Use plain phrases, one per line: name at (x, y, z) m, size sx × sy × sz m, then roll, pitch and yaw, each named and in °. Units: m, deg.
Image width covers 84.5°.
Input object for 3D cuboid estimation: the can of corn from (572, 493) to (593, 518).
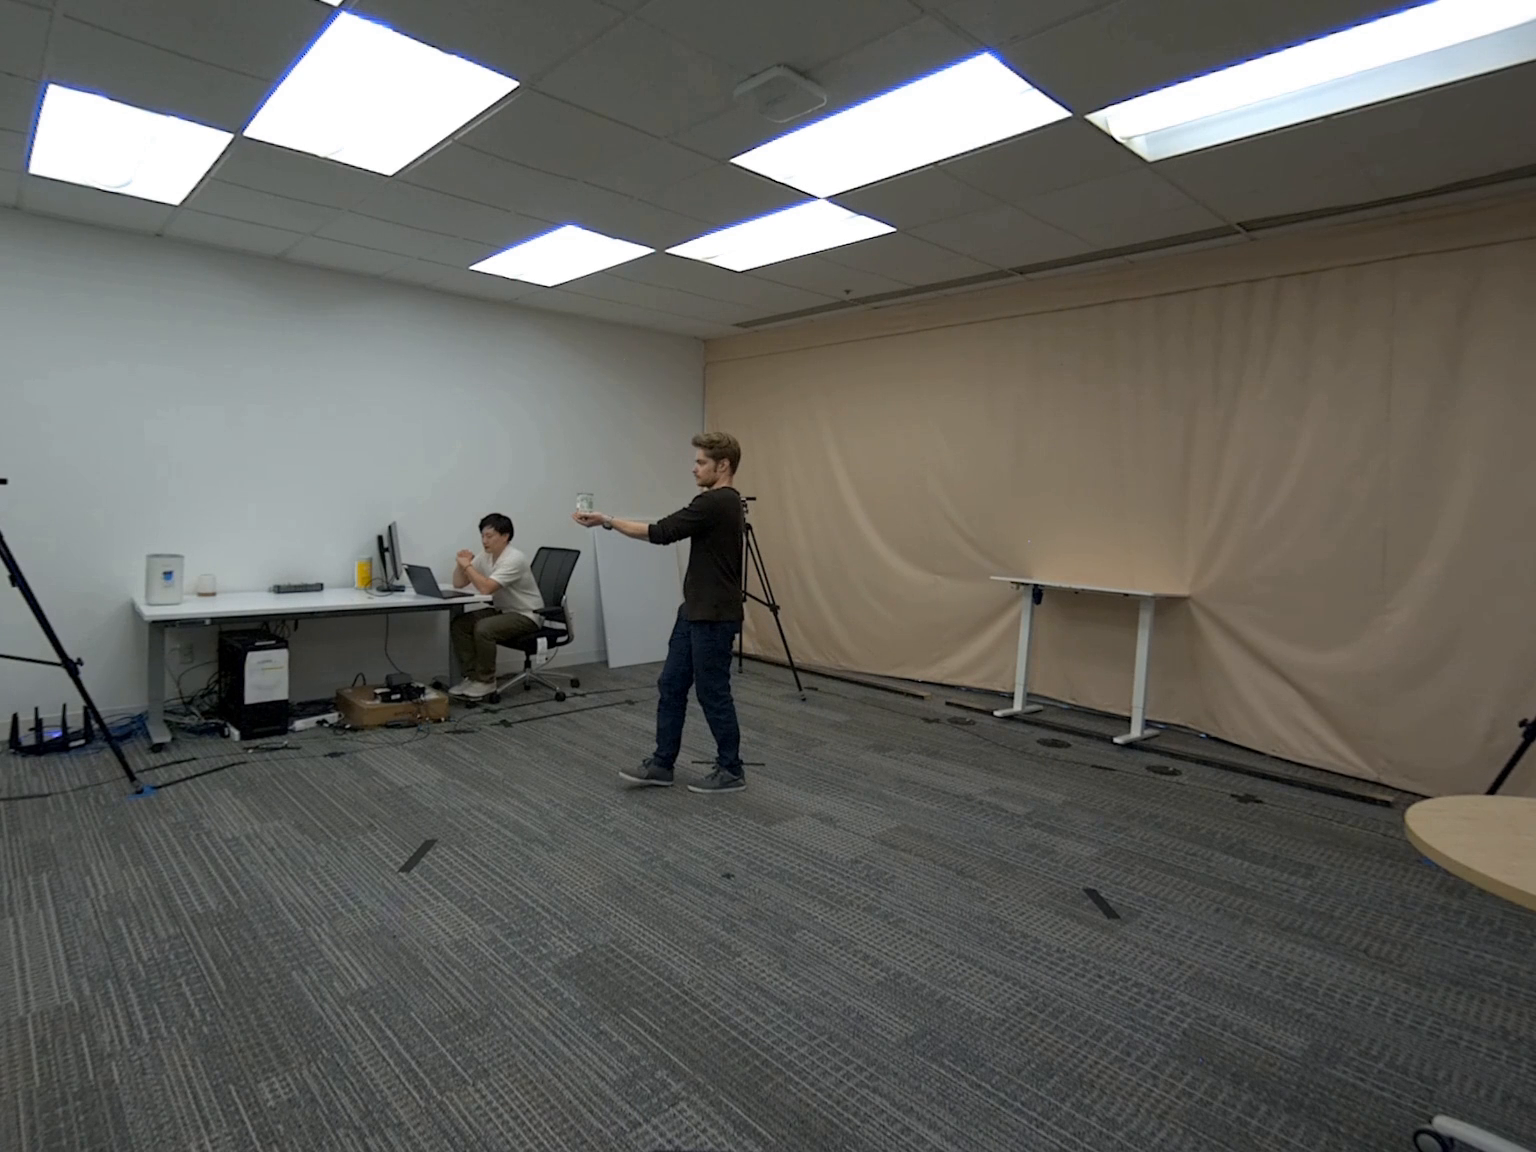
can of corn at (-0.845, -0.320, 3.851) m, size 0.074 × 0.111 × 0.074 m, roll 2°, pitch 1°, yaw -1°
